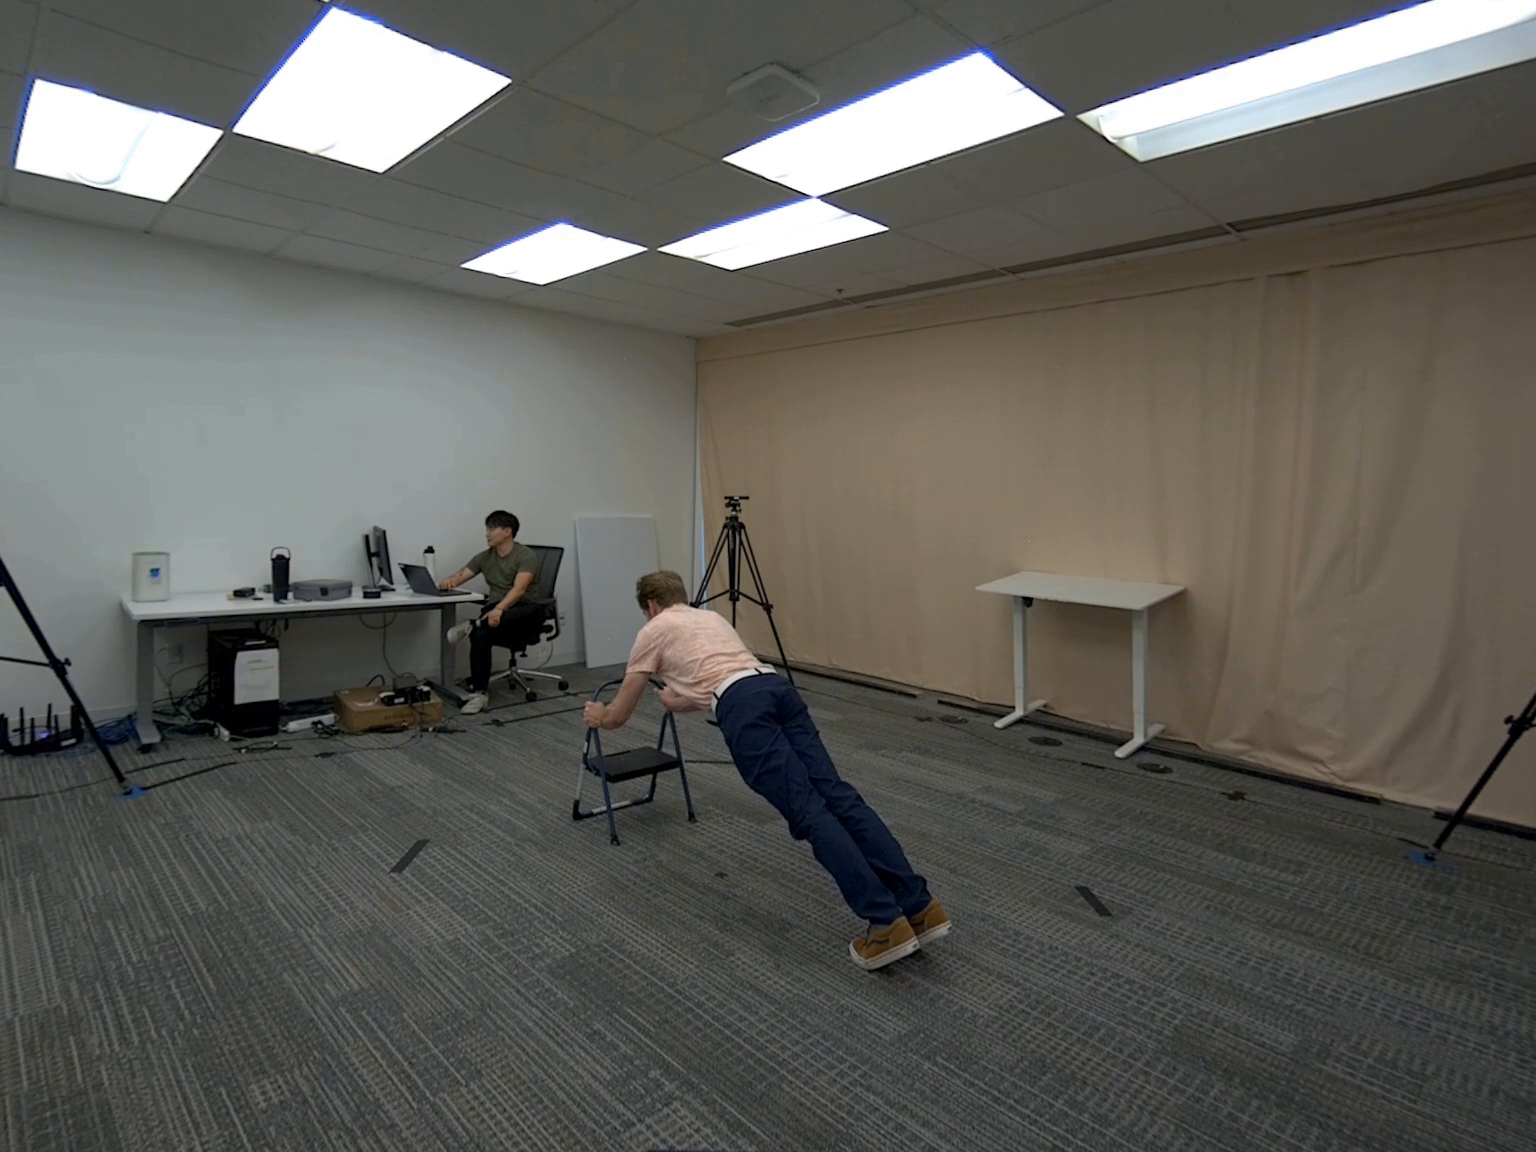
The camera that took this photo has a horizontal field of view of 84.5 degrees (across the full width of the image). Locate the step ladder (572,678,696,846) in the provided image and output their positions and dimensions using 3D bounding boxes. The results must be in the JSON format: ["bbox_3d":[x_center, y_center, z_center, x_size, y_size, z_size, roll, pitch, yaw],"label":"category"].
[{"bbox_3d":[-0.573,0.750,3.594,0.421,0.605,0.358,-2,4,-43],"label":"step ladder"}]
